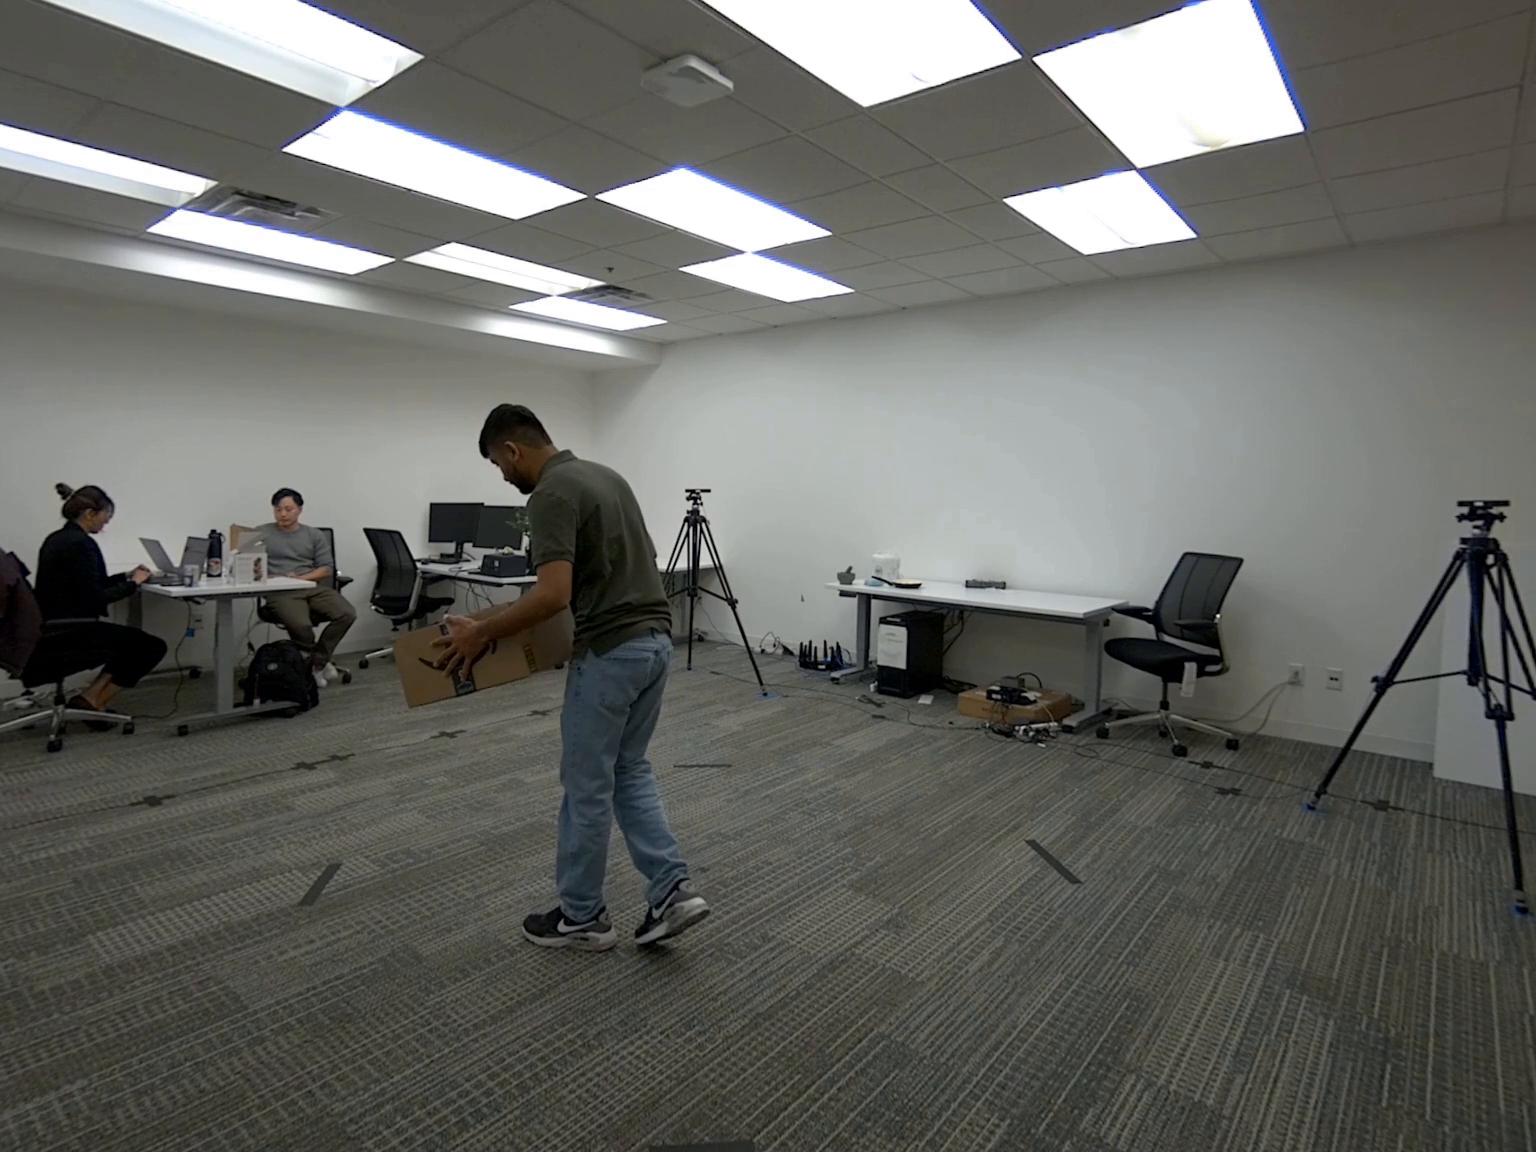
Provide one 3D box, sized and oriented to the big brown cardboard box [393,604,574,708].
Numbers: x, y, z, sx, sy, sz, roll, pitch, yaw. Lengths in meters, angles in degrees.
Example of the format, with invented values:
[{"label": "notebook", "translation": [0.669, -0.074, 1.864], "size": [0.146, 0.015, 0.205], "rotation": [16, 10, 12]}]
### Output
[{"label": "big brown cardboard box", "translation": [-0.817, 0.194, 2.676], "size": [0.422, 0.233, 0.581], "rotation": [-16, 1, 15]}]
